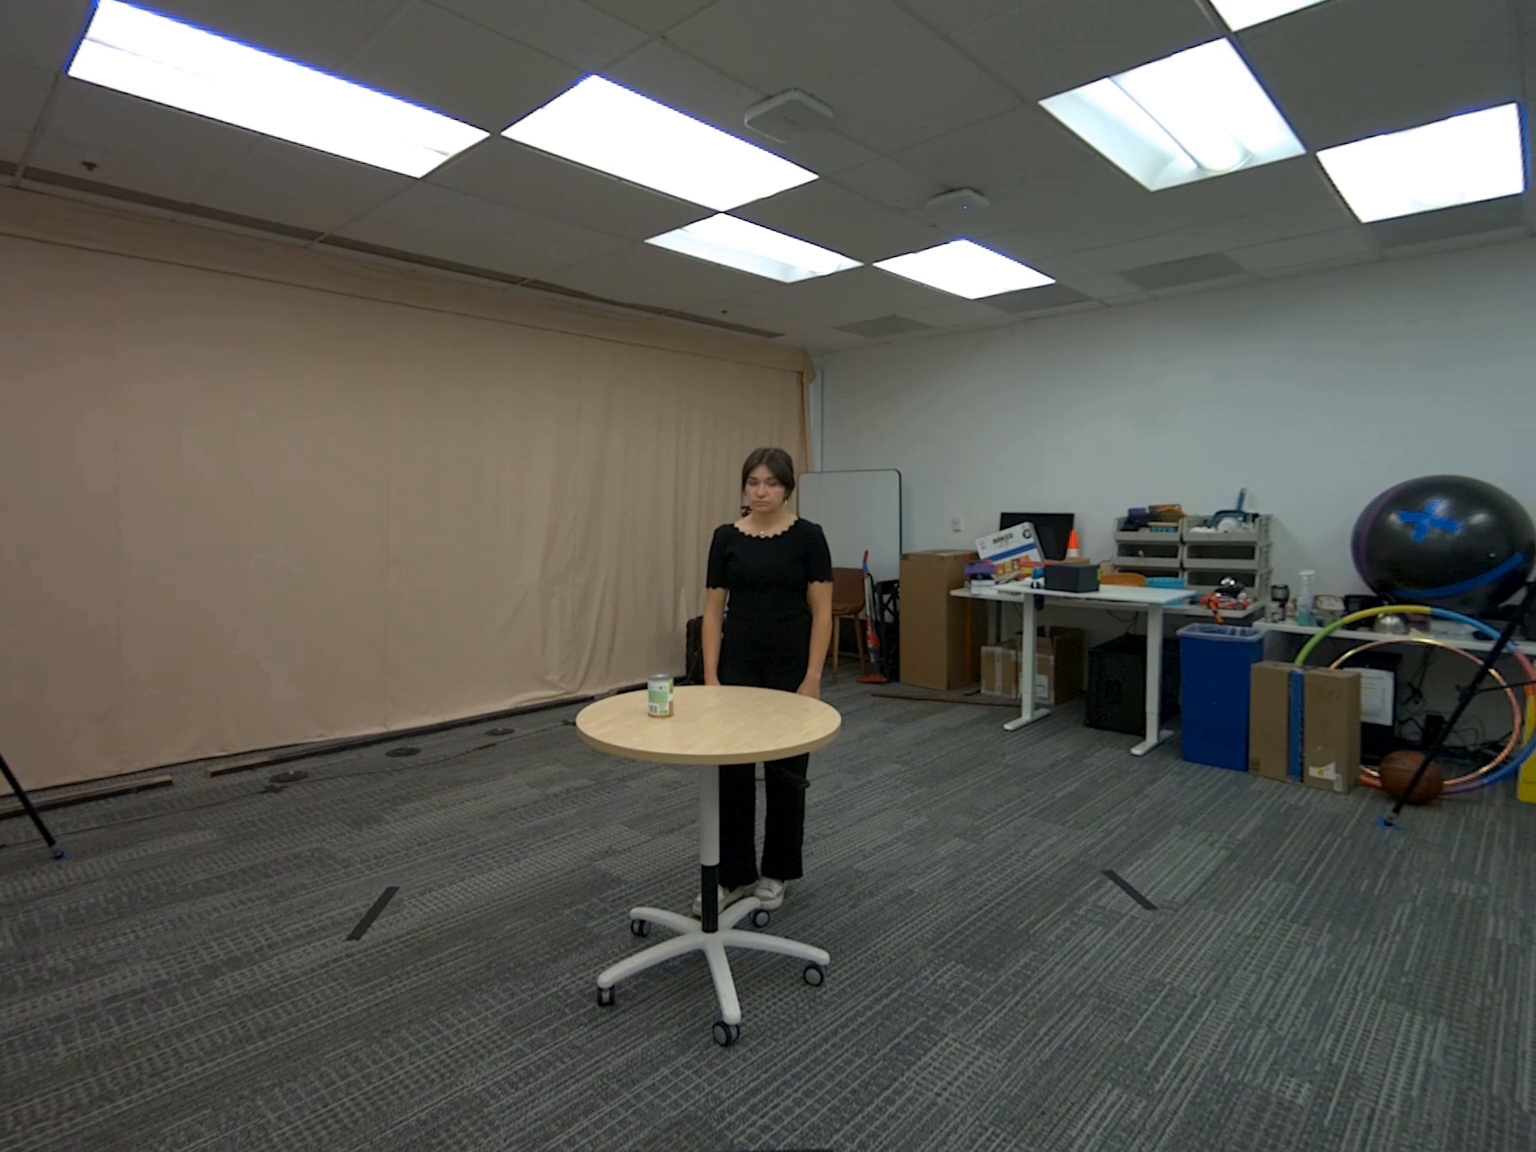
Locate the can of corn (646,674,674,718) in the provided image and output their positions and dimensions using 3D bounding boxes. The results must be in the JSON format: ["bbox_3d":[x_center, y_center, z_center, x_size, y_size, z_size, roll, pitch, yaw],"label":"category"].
[{"bbox_3d":[-0.314,0.353,2.441,0.074,0.111,0.074,-2,5,-2],"label":"can of corn"}]
